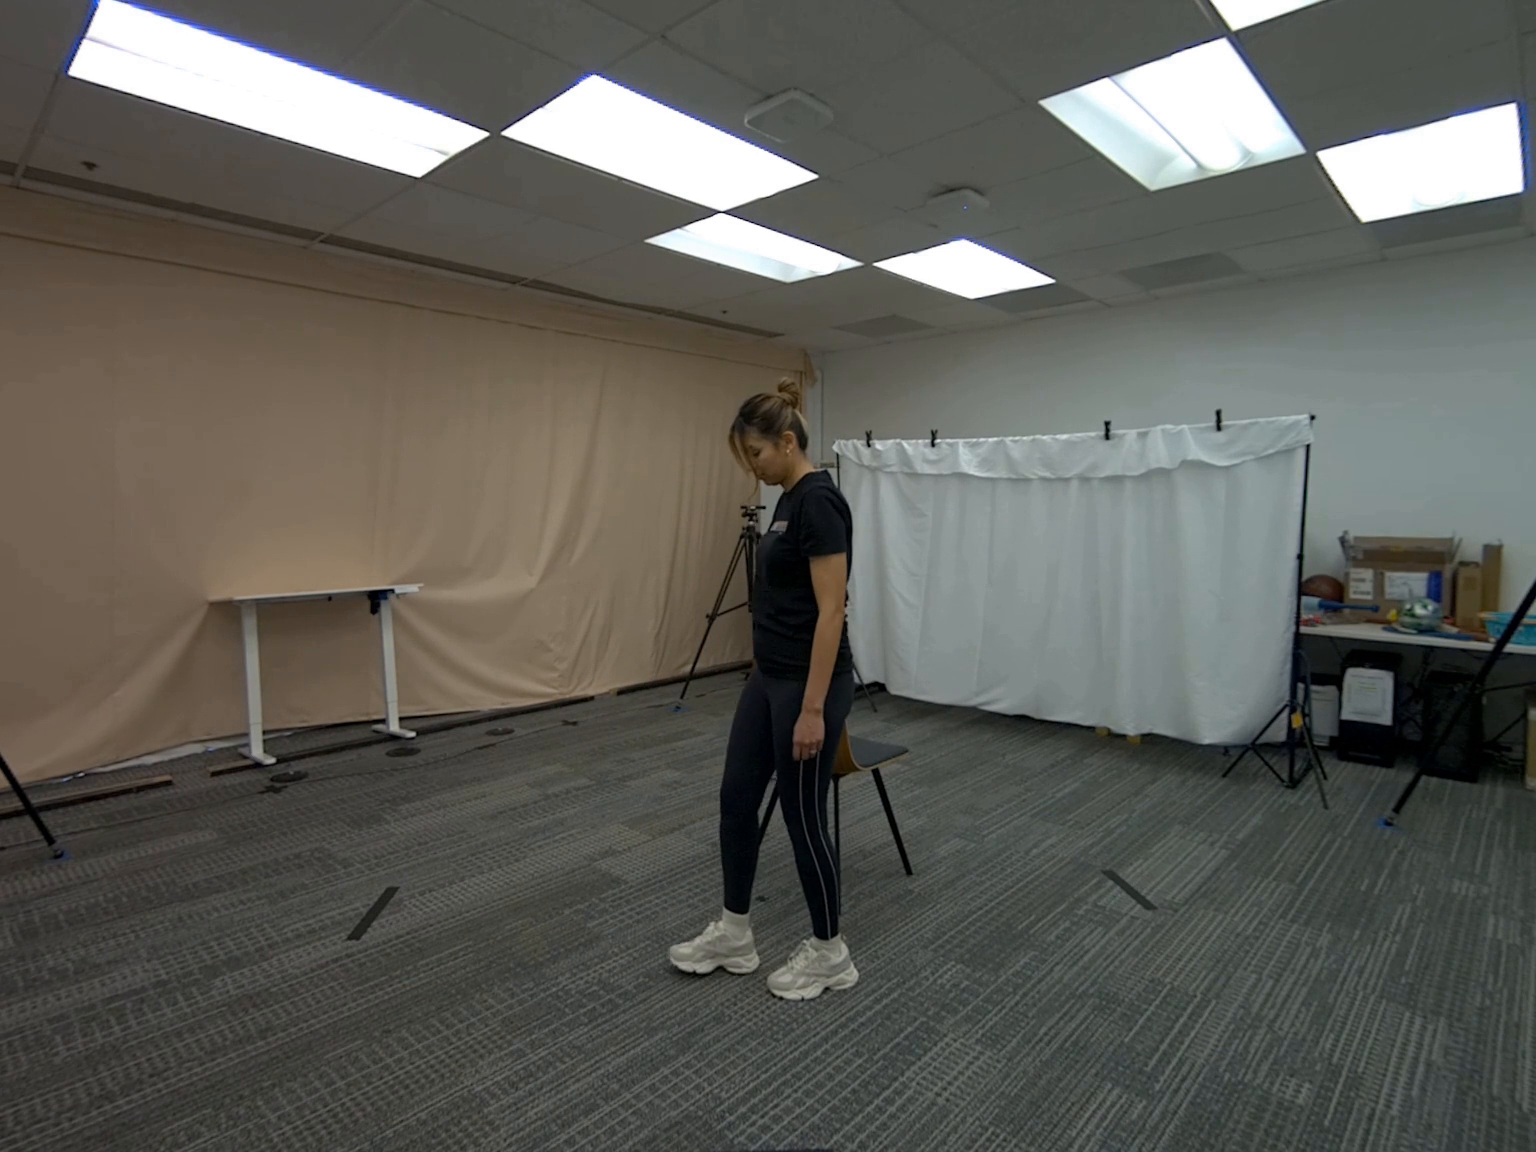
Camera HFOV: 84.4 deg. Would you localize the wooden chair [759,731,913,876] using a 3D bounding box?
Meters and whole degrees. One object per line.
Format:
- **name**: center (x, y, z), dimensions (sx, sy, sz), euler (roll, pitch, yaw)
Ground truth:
- **wooden chair**: center (0.232, 0.701, 3.150), dimensions (0.494, 0.873, 0.508), euler (3, 9, 44)
